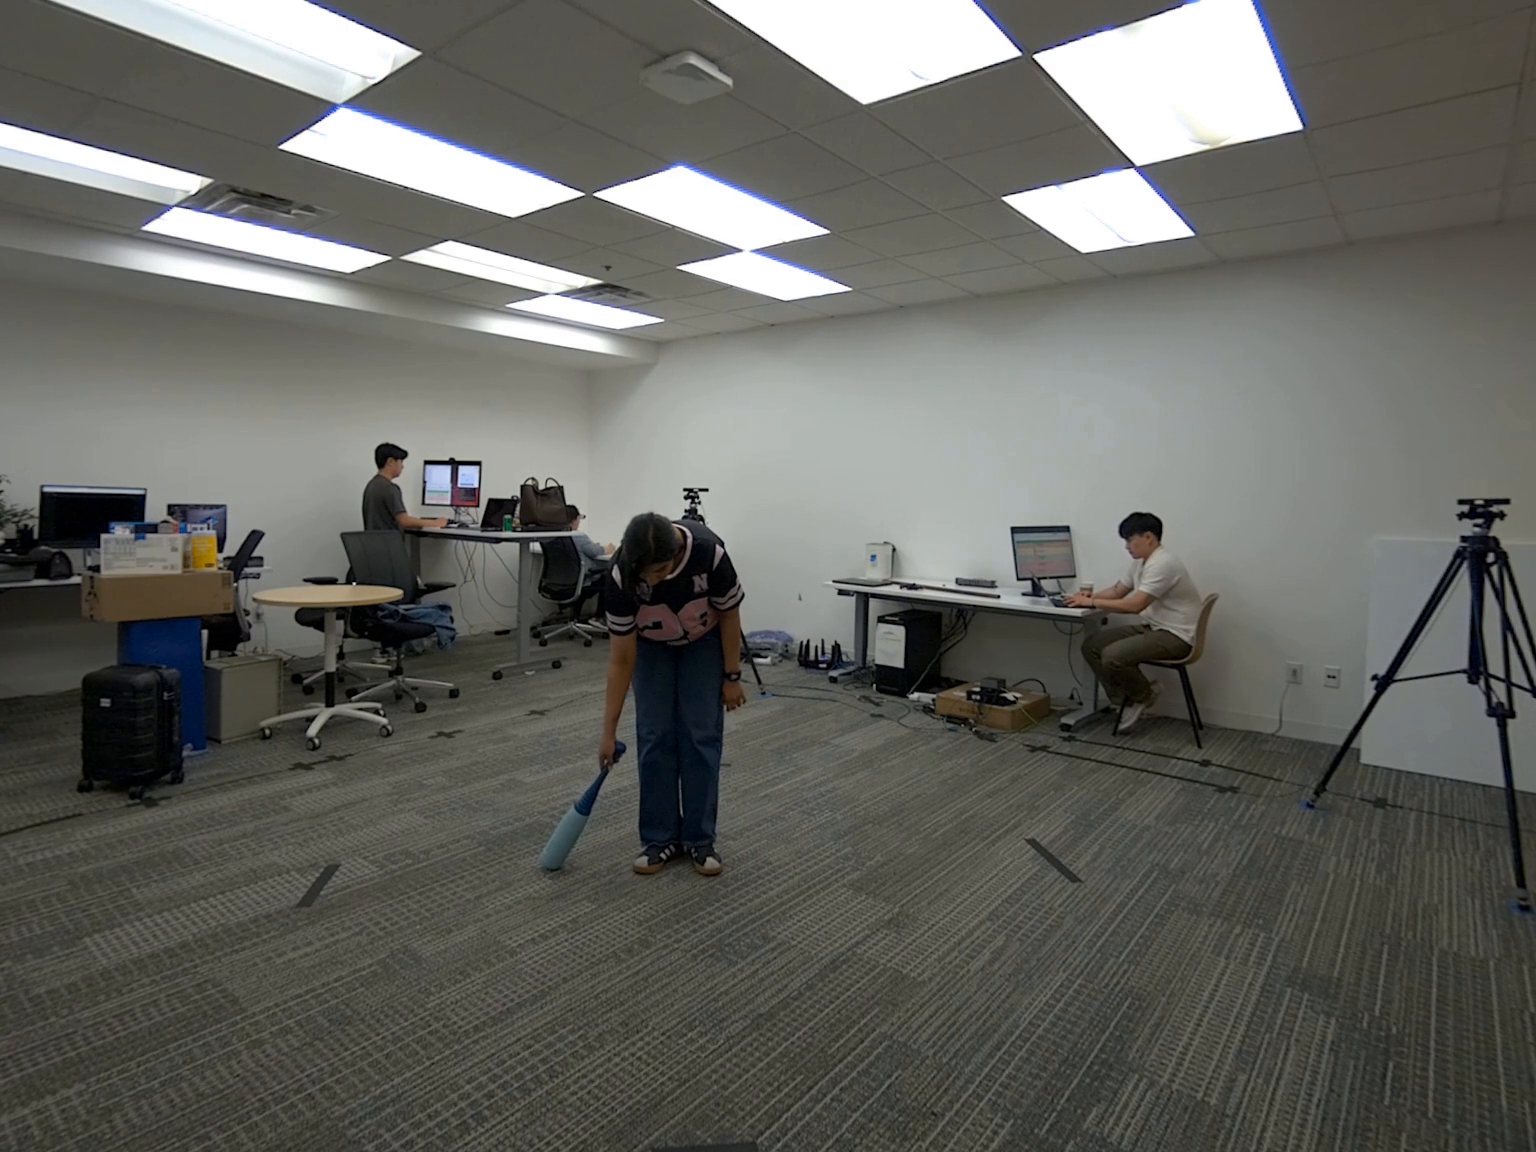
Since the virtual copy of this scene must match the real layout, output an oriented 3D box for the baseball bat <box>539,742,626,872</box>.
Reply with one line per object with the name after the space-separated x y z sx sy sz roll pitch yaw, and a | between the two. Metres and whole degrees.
-0.666 0.826 3.049 0.088 0.541 0.090 31 10 -9 | baseball bat
